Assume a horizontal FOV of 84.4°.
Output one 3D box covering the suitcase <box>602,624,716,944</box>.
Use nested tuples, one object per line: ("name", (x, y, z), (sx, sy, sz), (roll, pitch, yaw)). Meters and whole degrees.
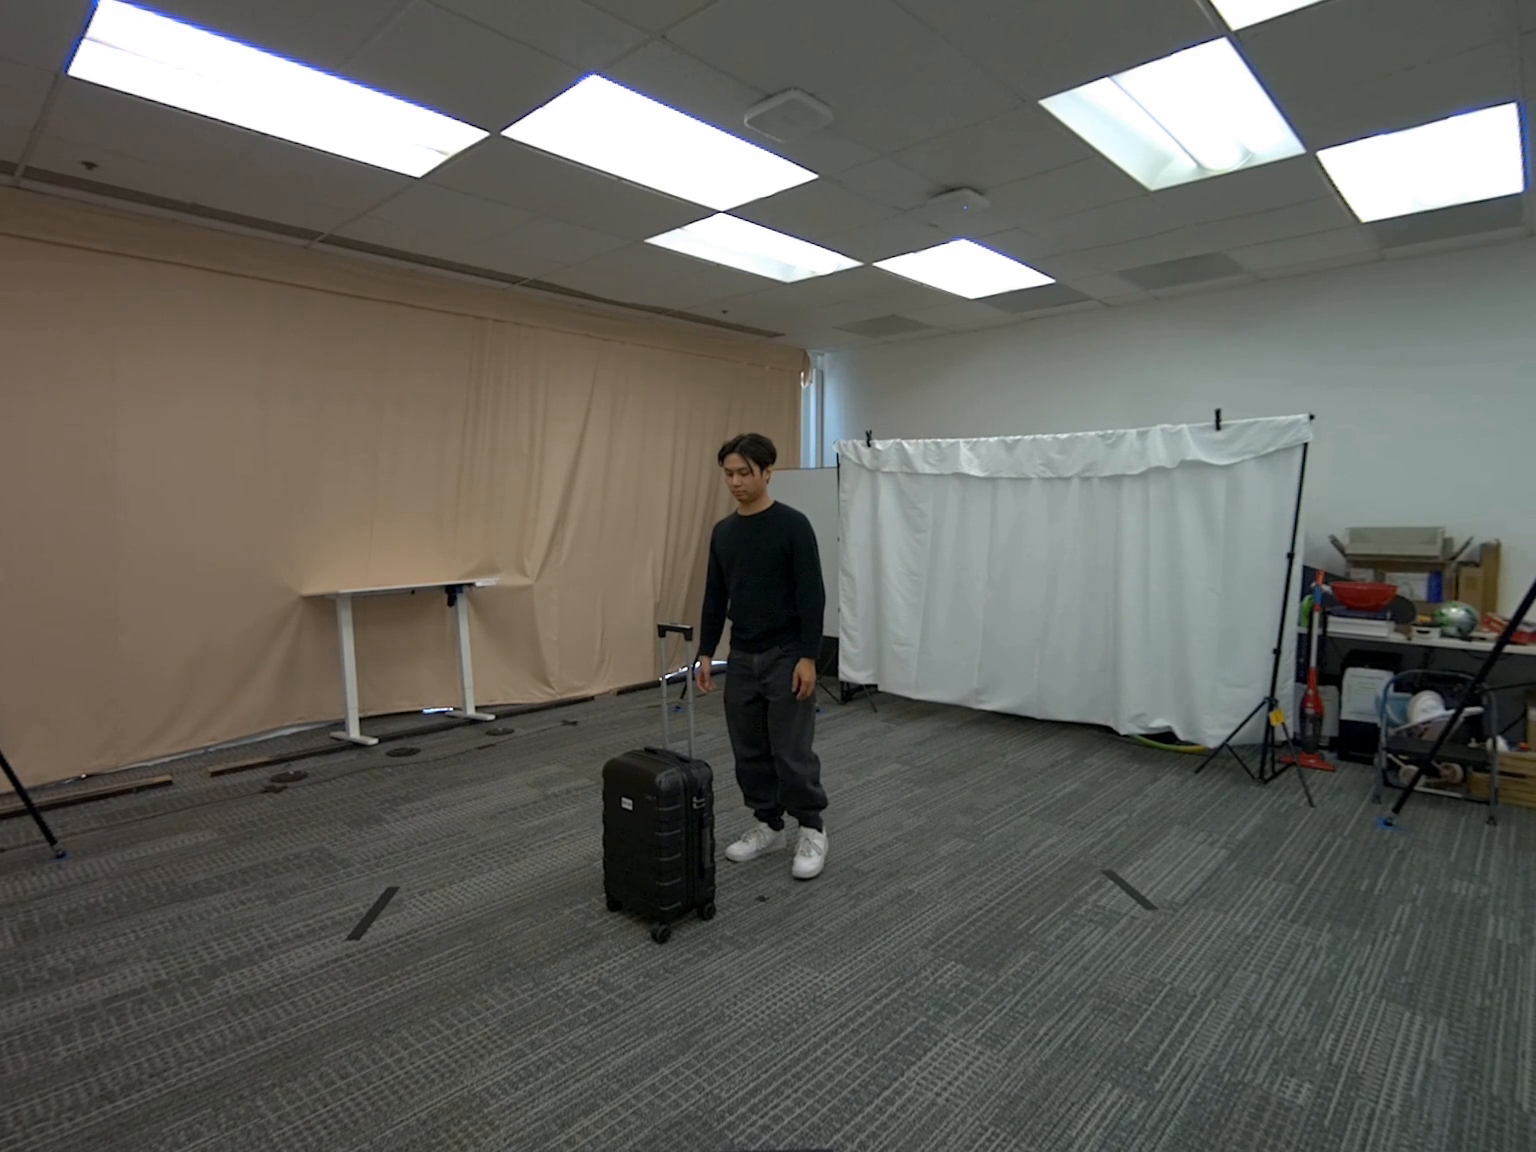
("suitcase", (-0.383, 0.679, 2.854), (0.396, 0.976, 0.249), (1, 5, 42))
